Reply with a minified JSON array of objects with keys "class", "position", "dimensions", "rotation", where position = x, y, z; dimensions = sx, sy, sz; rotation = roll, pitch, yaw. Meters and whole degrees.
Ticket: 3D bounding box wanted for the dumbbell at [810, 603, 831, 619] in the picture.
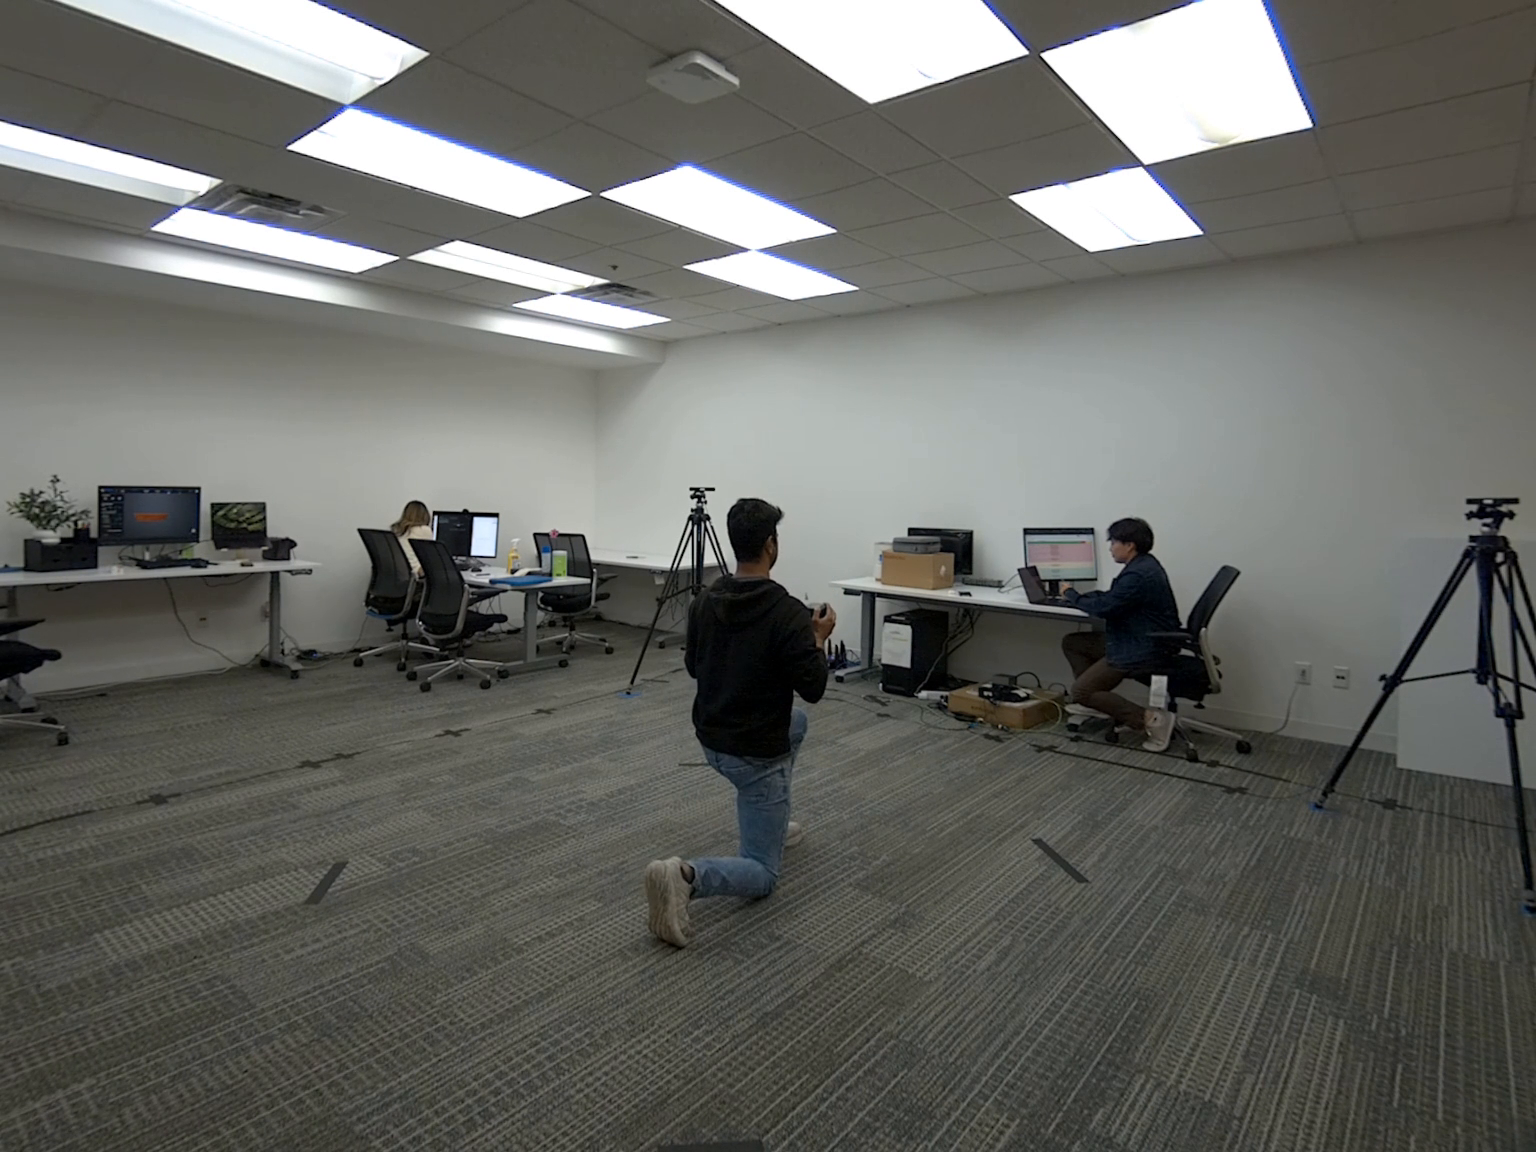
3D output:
[{"class":"dumbbell","position":[0.084,0.151,3.272],"dimensions":[0.303,0.124,0.104],"rotation":[4,-14,35]}]
